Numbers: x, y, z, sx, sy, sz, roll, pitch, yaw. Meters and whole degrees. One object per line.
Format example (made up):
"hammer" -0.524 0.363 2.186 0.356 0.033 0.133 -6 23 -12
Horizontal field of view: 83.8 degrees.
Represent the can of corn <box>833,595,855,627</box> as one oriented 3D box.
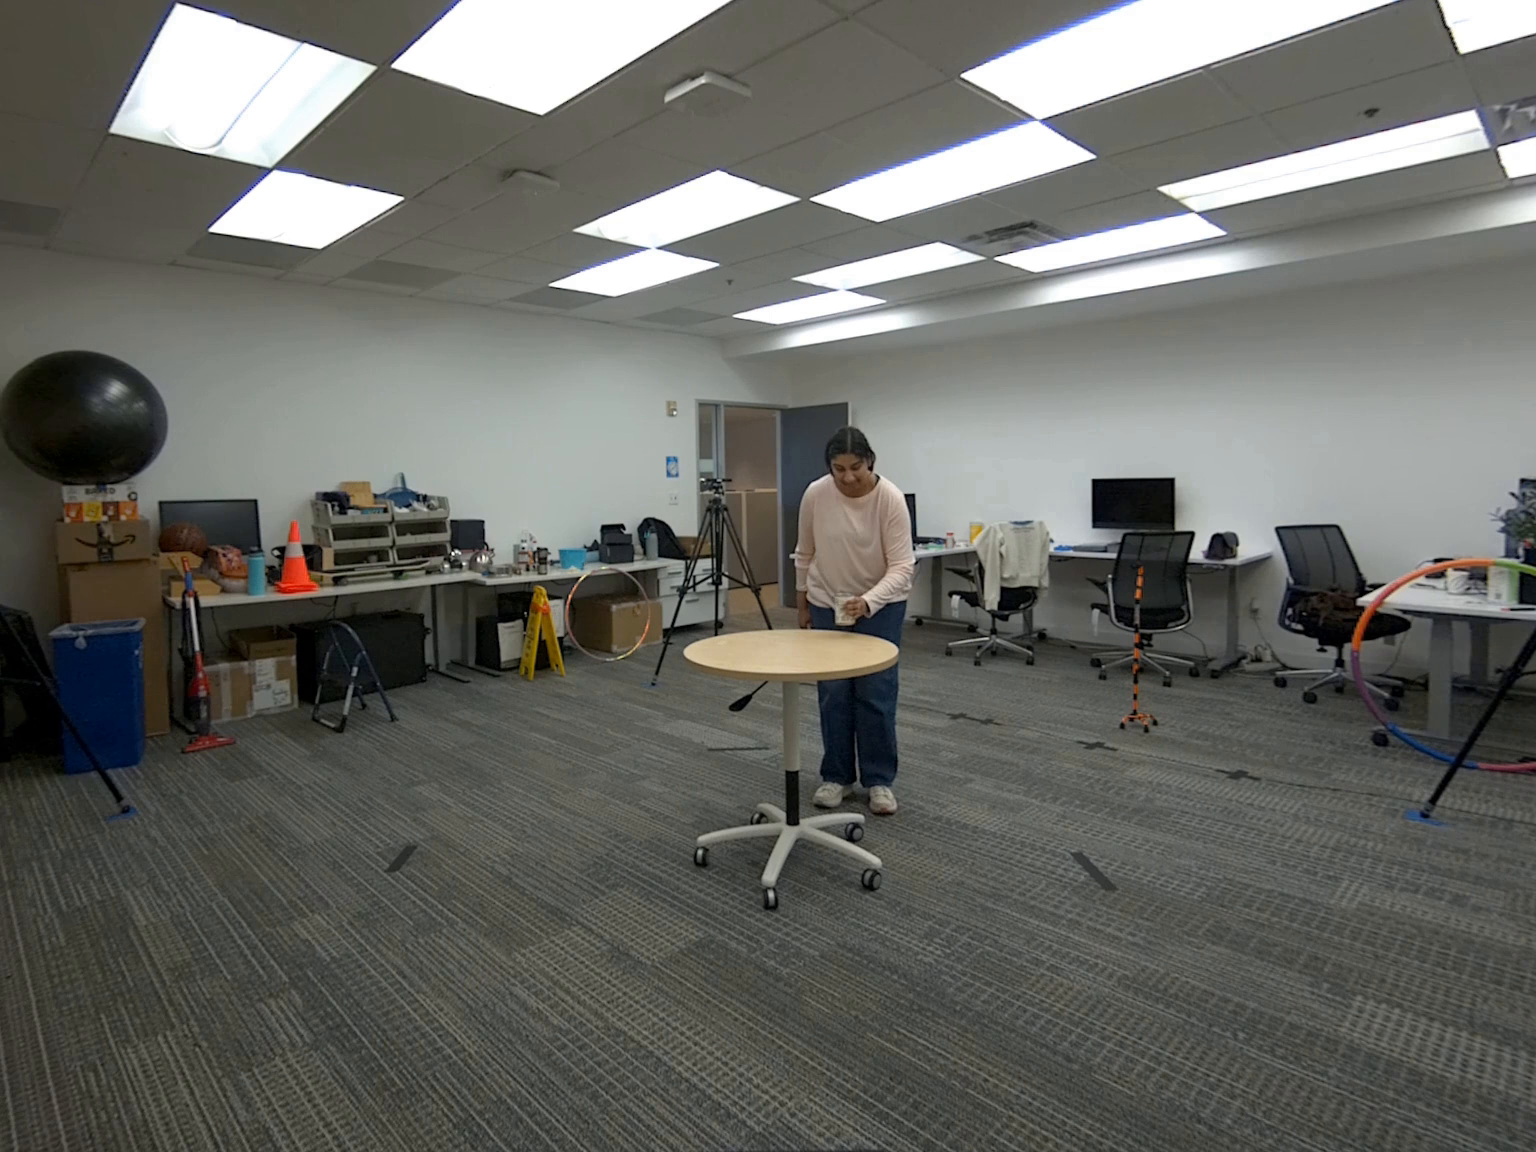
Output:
"can of corn" 0.313 0.132 3.251 0.074 0.111 0.074 7 0 -2
